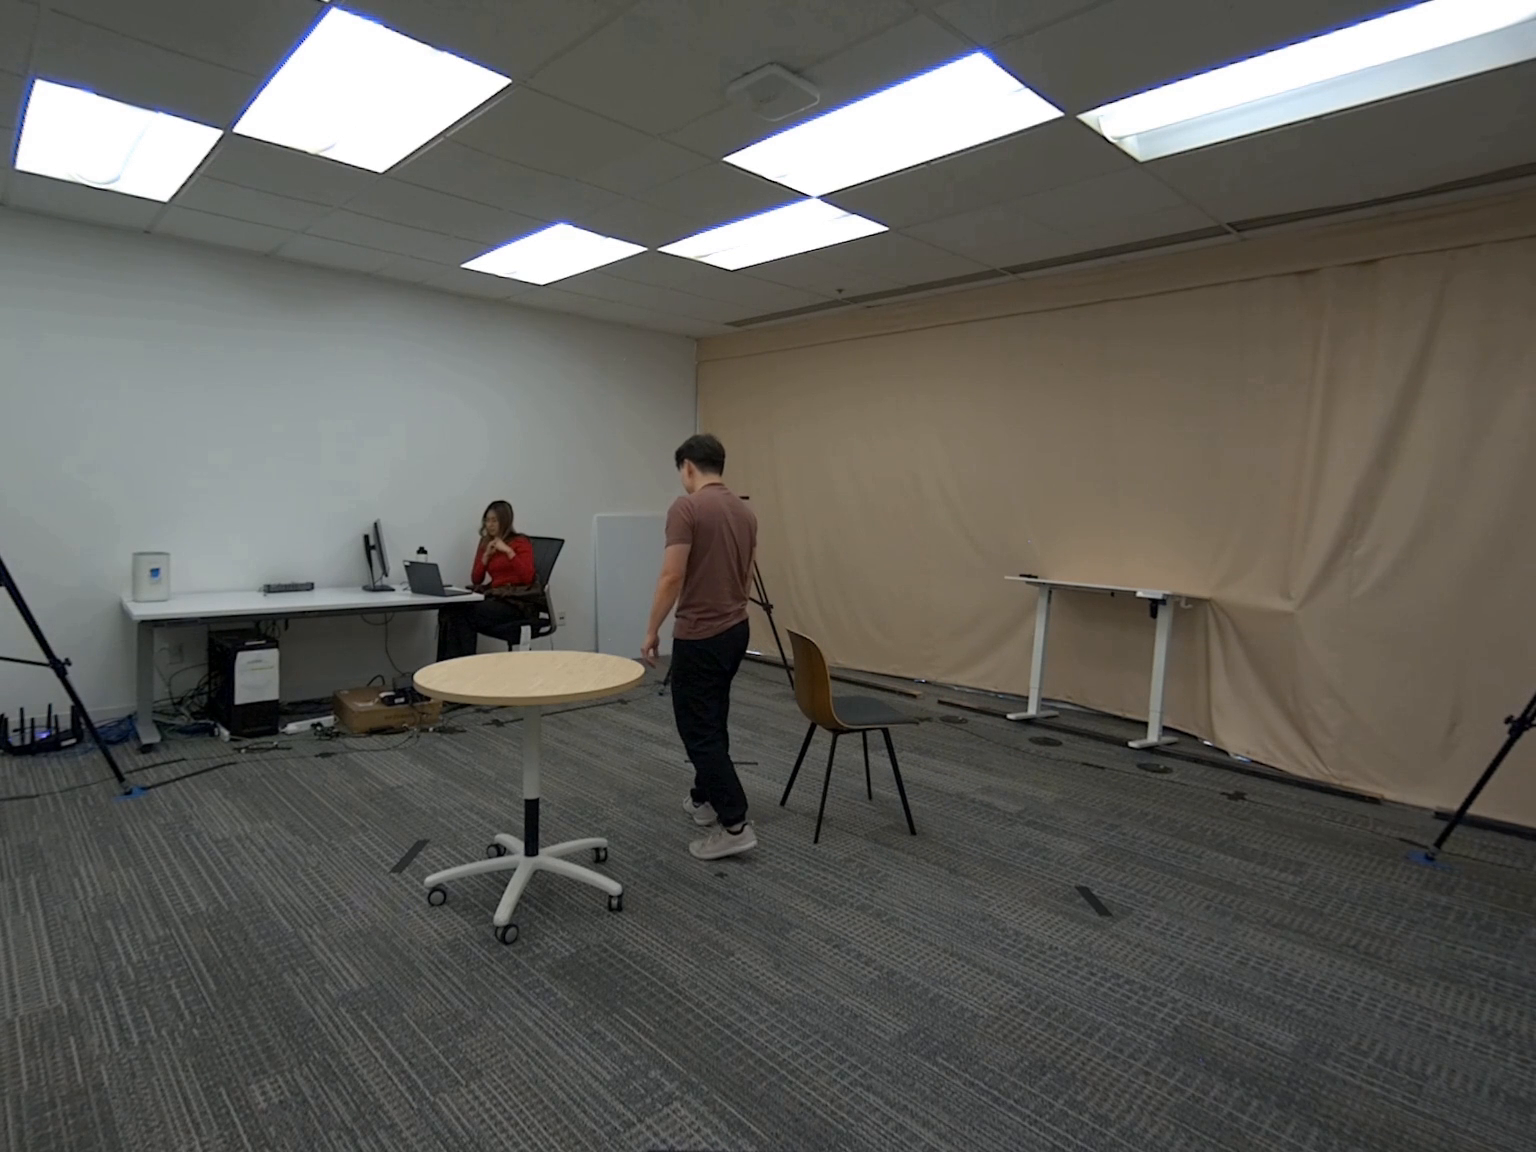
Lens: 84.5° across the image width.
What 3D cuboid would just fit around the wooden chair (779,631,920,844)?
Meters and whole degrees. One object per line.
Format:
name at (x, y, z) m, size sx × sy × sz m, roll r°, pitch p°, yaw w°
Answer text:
wooden chair at (0.347, 0.638, 3.656) m, size 0.517 × 0.874 × 0.485 m, roll -4°, pitch 4°, yaw -17°
